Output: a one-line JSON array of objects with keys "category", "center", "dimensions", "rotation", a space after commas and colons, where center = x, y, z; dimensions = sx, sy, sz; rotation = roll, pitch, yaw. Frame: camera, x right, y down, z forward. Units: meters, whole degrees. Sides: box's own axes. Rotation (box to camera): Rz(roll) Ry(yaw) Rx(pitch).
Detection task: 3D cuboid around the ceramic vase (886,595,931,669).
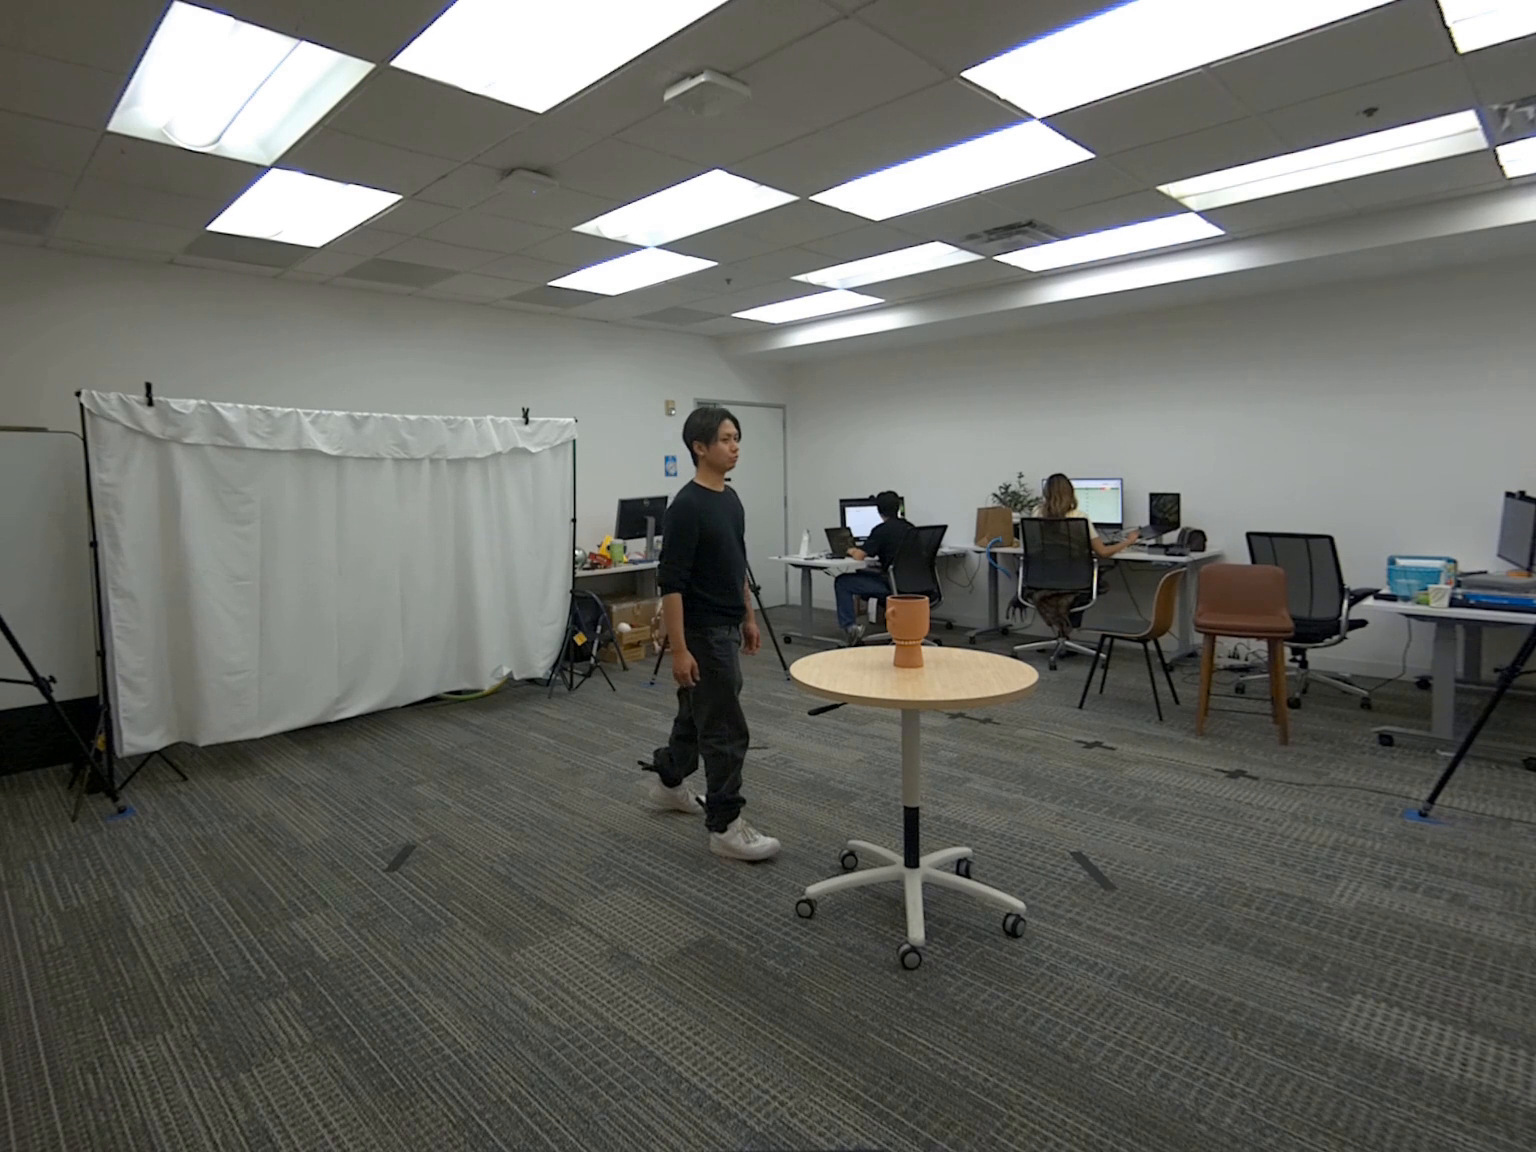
[{"category": "ceramic vase", "center": [0.461, 0.180, 2.765], "dimensions": [0.159, 0.219, 0.135], "rotation": [-1, 3, 1]}]
